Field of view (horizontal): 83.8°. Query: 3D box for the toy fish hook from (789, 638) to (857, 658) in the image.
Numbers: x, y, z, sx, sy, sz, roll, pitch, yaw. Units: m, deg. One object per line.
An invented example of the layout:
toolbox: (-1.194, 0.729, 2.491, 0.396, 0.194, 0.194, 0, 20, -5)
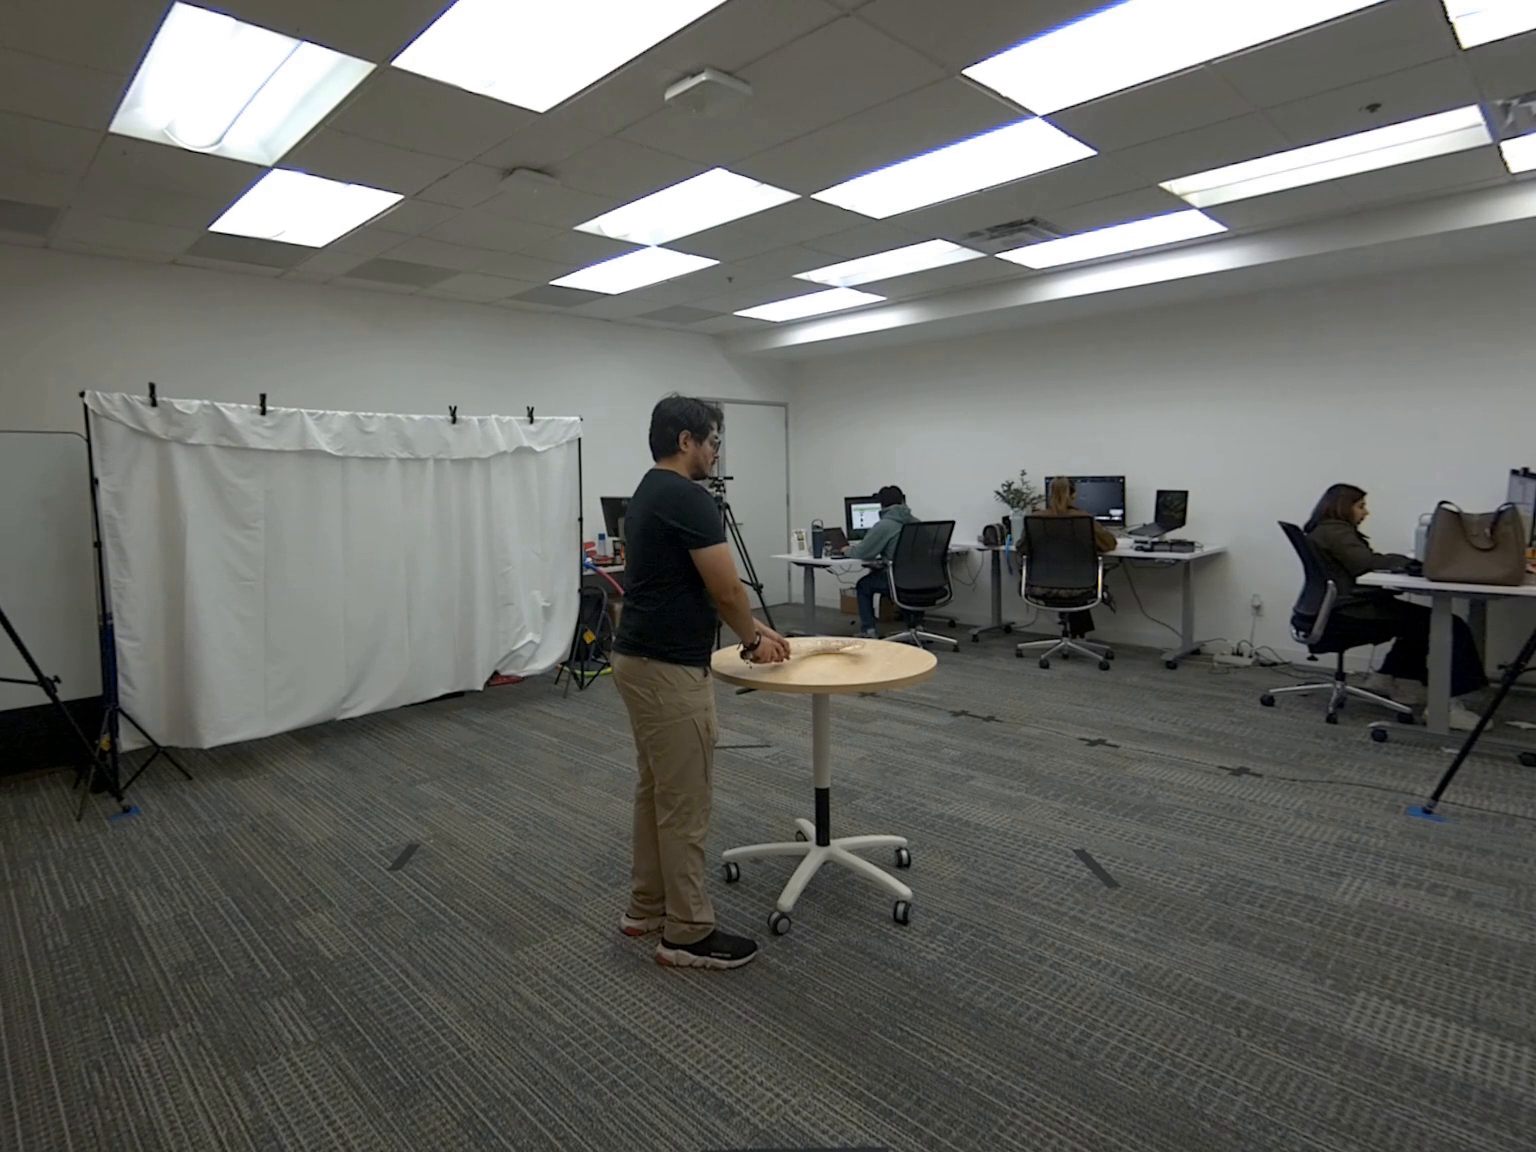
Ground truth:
toy fish hook: (0.149, 0.242, 2.763, 0.229, 0.048, 0.493, -11, -4, 41)
